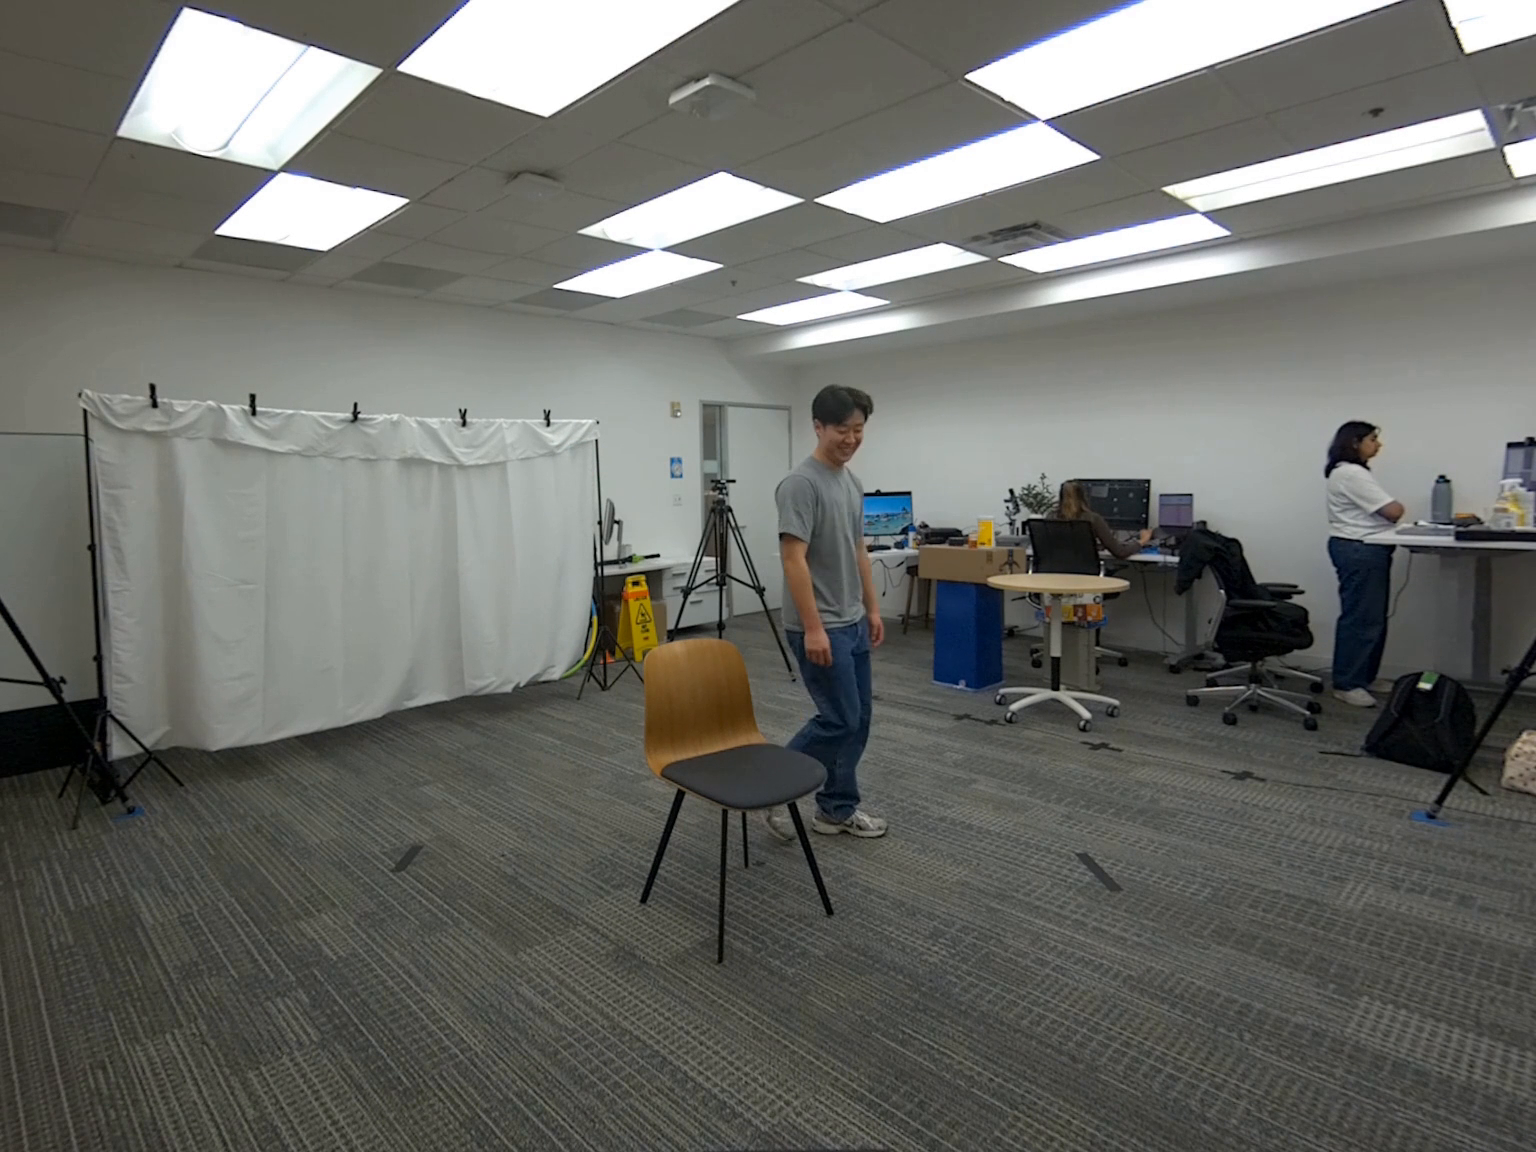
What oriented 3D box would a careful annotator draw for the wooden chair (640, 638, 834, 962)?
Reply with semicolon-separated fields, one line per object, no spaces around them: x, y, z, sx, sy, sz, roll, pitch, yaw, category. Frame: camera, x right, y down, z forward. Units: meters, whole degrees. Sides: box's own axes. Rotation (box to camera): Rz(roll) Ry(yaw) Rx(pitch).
-0.107;0.663;2.740;0.466;0.877;0.537;-4;1;-38;wooden chair
